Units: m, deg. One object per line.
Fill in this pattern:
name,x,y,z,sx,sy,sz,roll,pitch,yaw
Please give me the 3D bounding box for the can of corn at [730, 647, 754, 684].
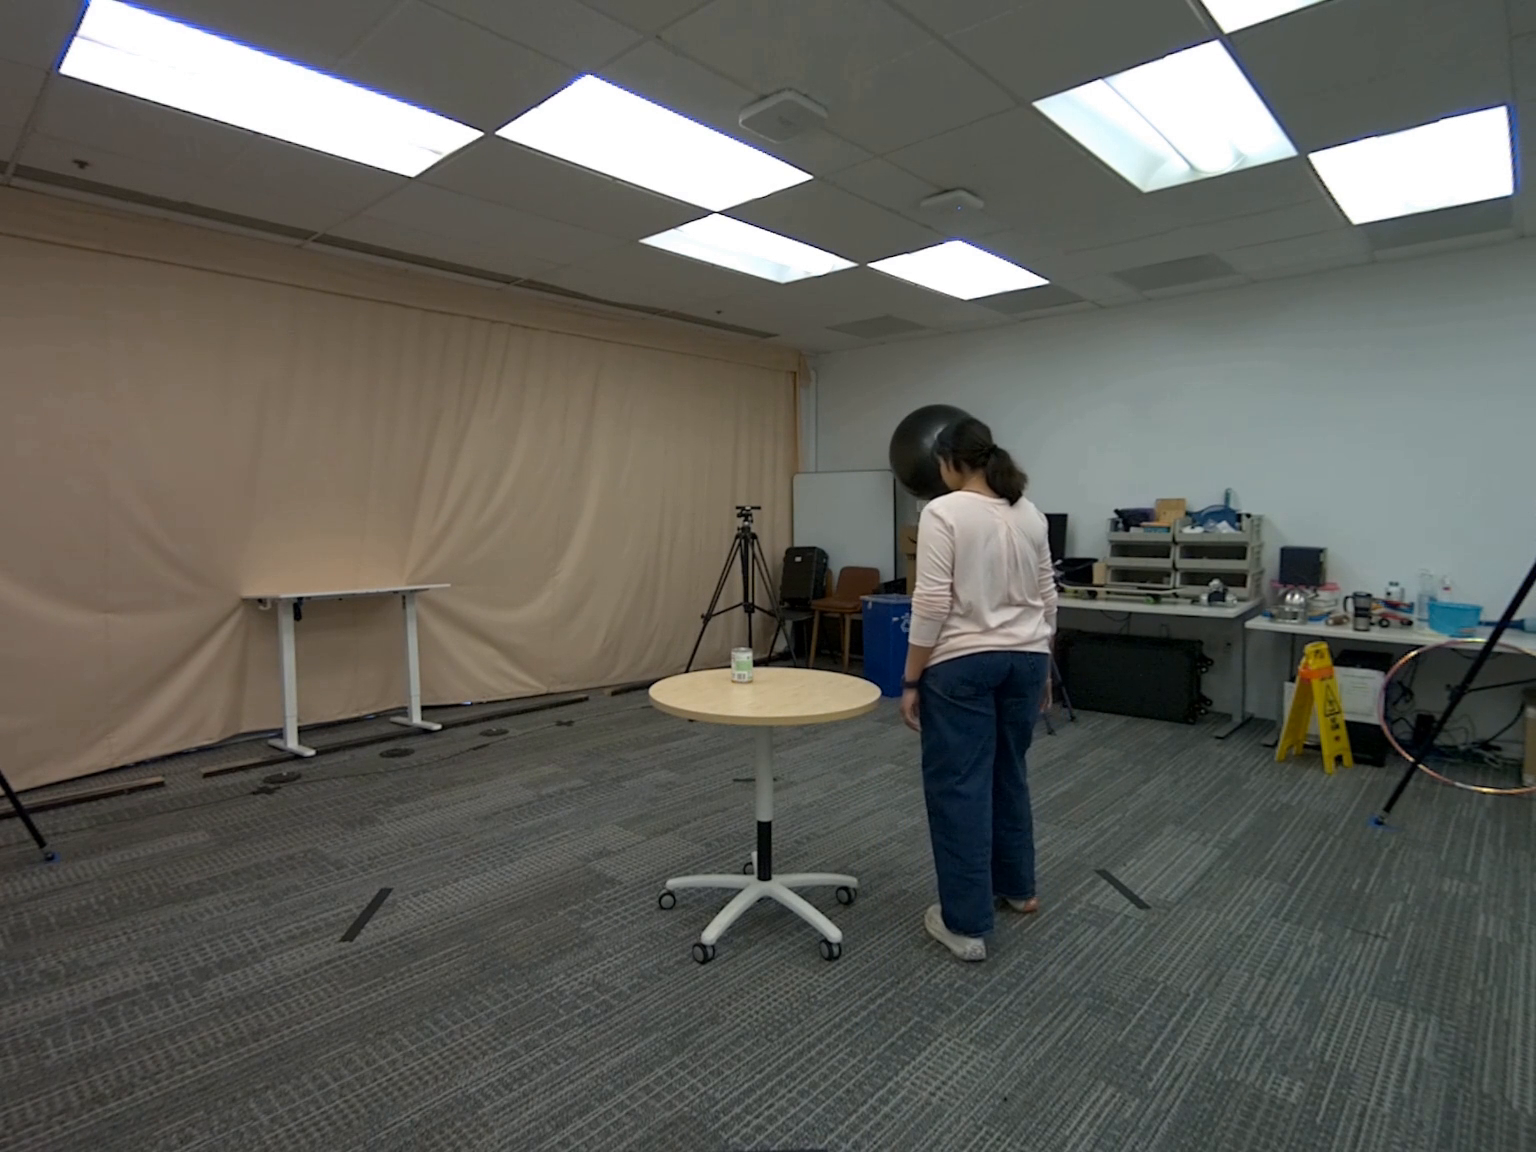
can of corn,-0.089,0.313,2.918,0.074,0.111,0.074,-2,5,-2
